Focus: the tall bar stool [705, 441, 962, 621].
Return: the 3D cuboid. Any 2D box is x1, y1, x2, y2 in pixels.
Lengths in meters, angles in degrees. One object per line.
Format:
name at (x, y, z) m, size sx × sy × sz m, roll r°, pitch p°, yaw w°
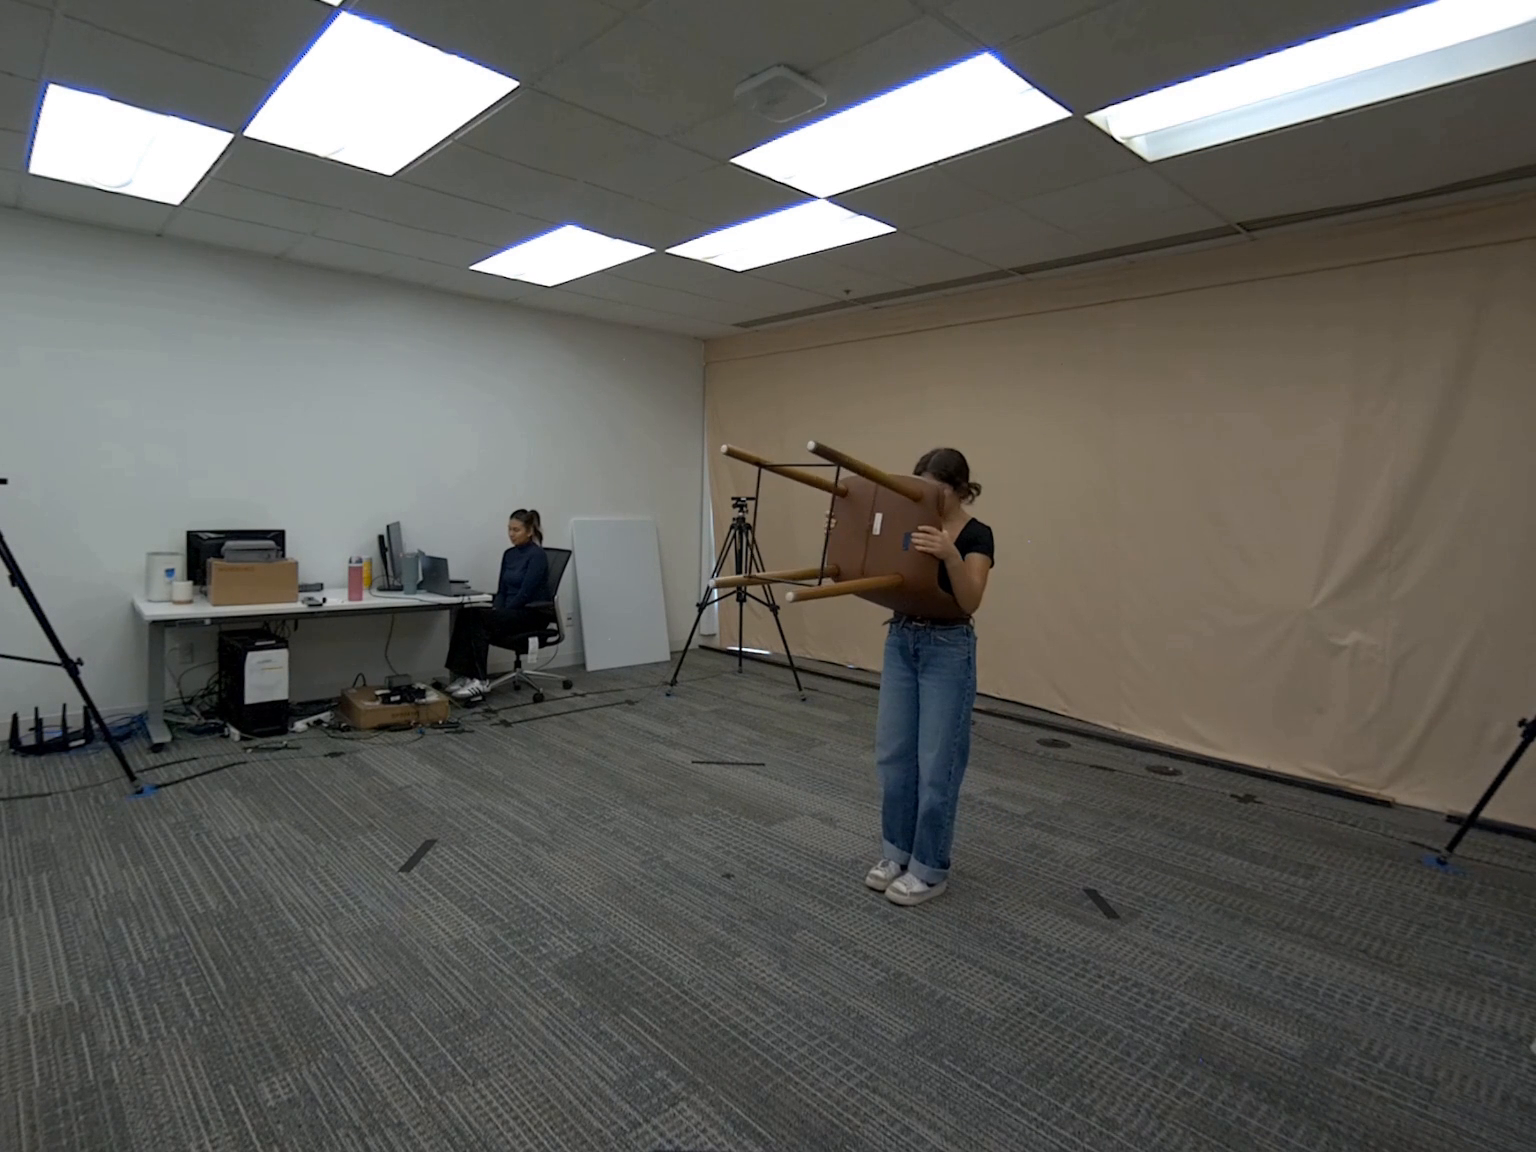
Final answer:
tall bar stool at (0.280, -0.124, 2.762) m, size 0.866 × 0.468 × 0.468 m, roll 9°, pitch -3°, yaw -42°
